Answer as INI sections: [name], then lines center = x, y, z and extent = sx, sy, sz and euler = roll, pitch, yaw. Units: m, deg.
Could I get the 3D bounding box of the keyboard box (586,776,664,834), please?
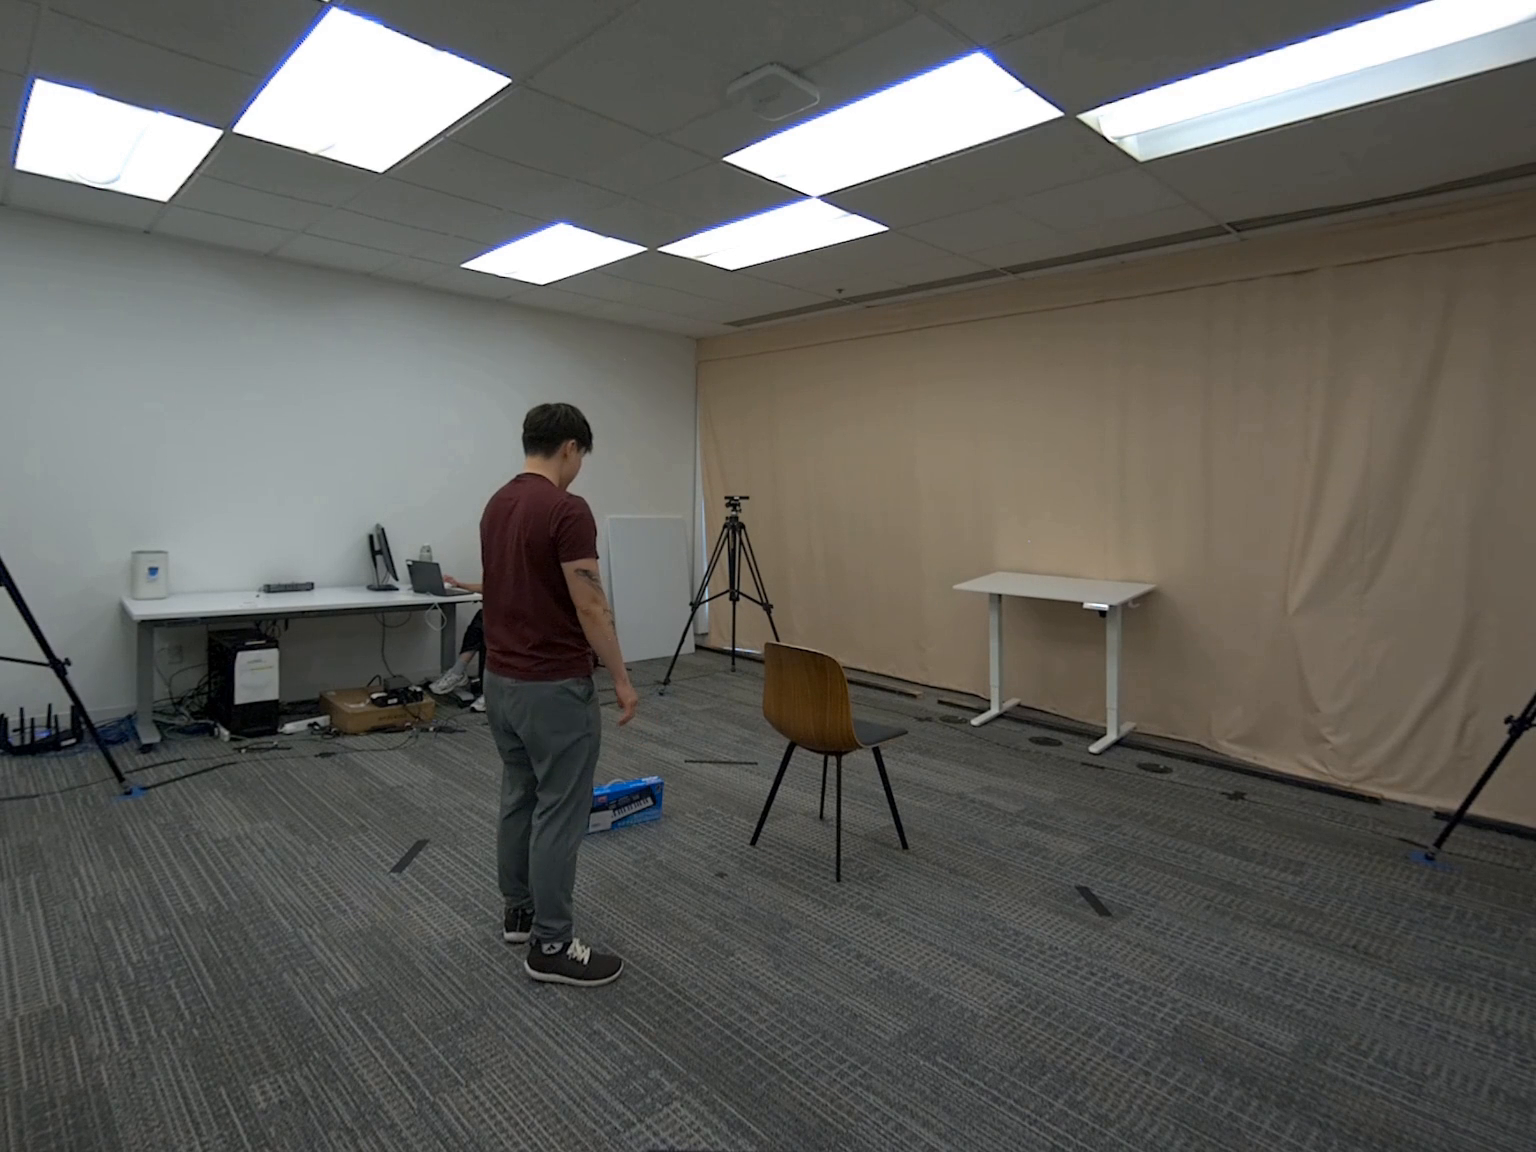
[keyboard box]
center = -0.649, 0.963, 3.524
extent = 0.427, 0.175, 0.061
euler = -2, 12, -35
